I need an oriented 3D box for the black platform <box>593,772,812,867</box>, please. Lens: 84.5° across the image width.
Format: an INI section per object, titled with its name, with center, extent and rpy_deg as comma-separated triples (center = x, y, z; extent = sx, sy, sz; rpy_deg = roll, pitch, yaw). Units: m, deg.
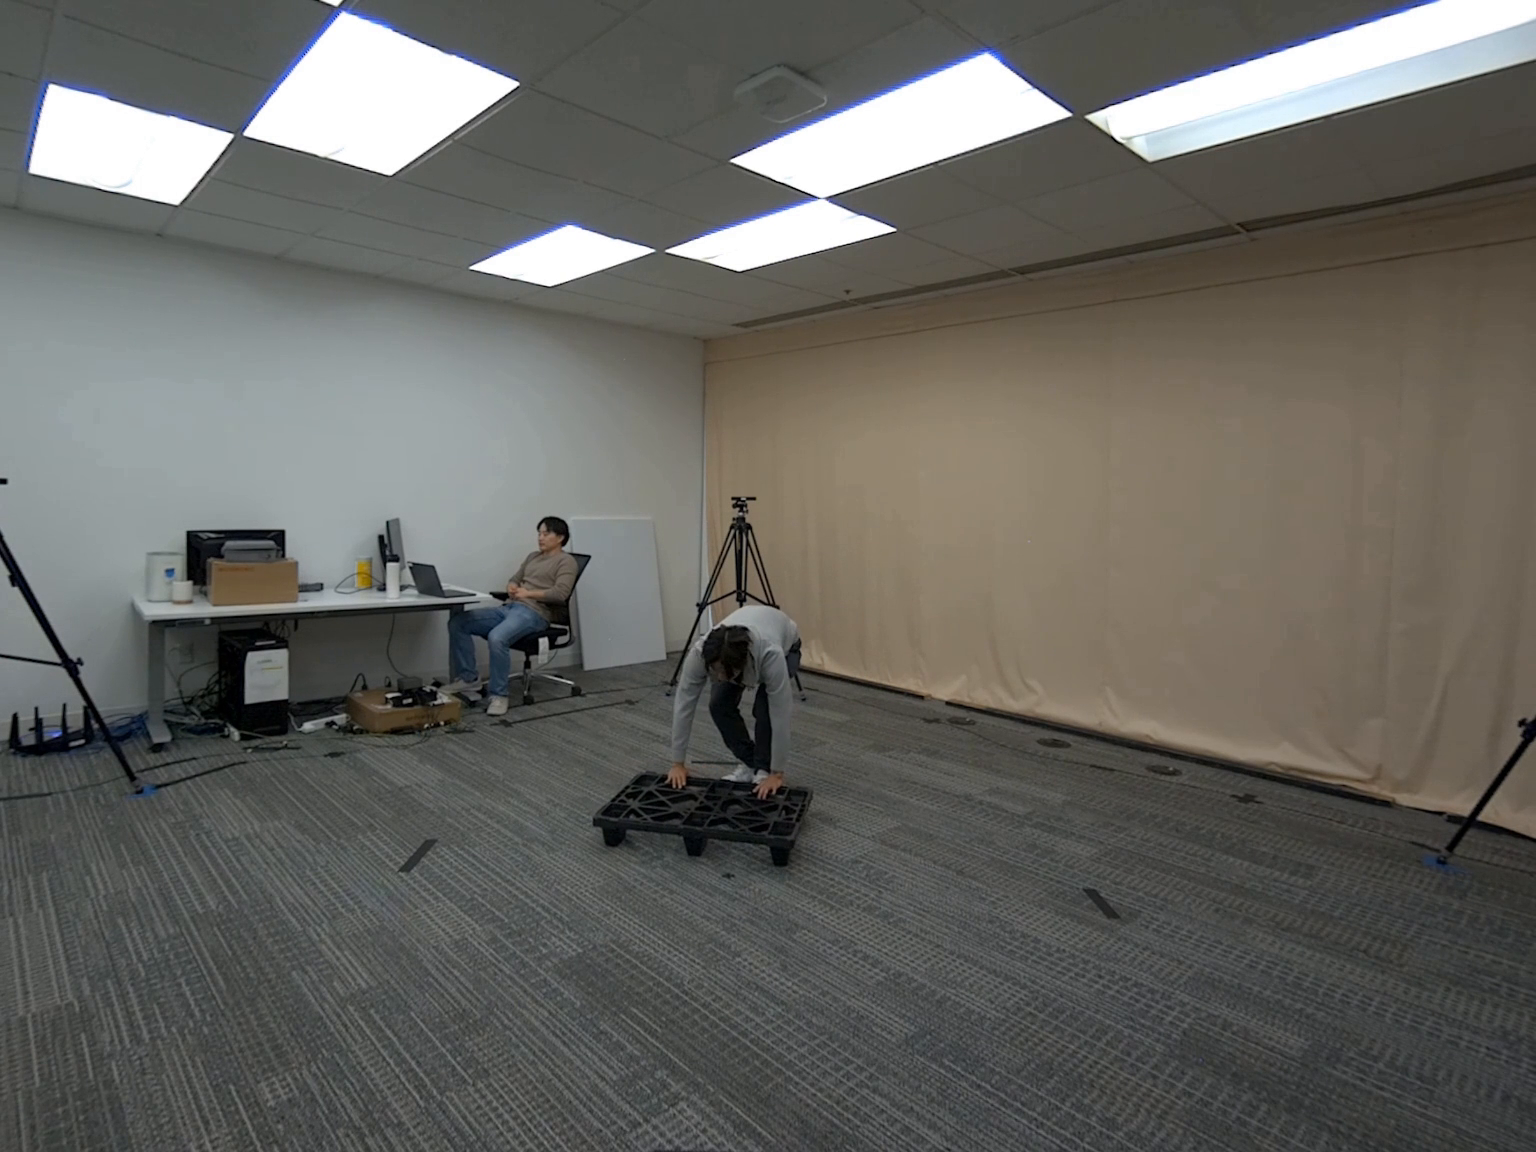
[black platform]
center = -0.255, 1.001, 3.487
extent = 0.814, 0.143, 0.601
rpy_deg = 2, 5, 12
